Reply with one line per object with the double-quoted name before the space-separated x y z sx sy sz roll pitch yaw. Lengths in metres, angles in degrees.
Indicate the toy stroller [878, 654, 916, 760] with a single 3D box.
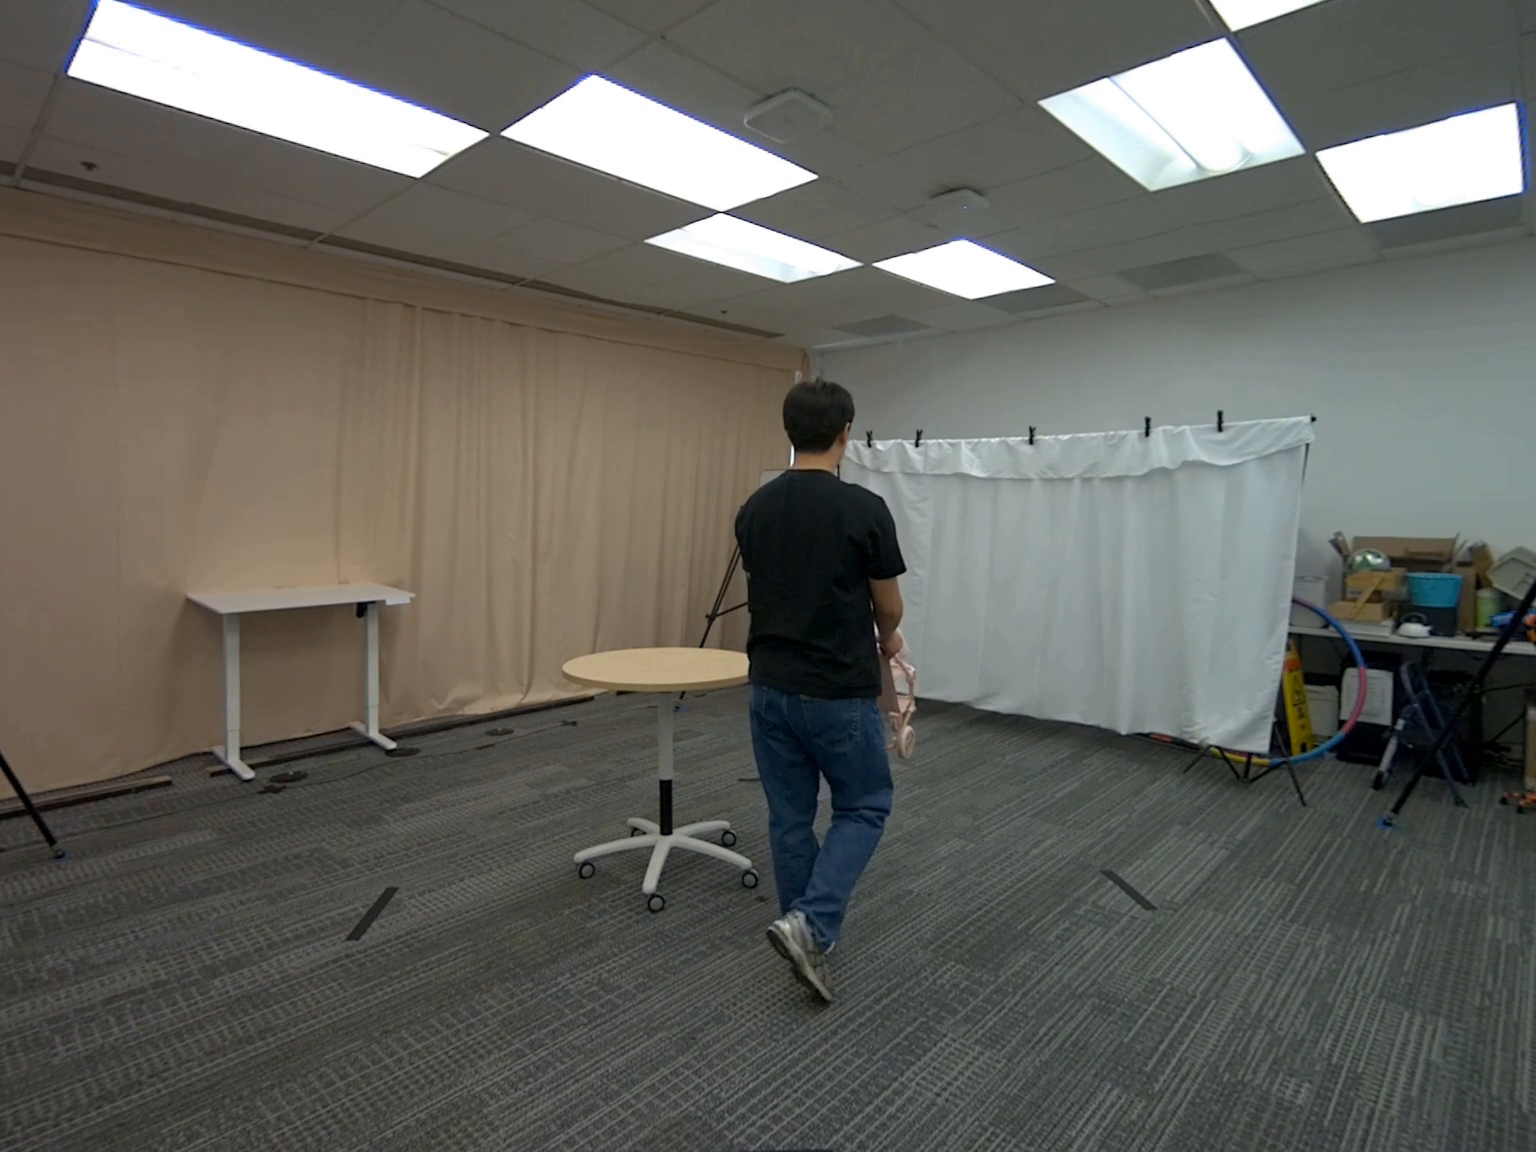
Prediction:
"toy stroller" 0.386 0.371 2.927 0.290 0.528 0.335 4 22 34
